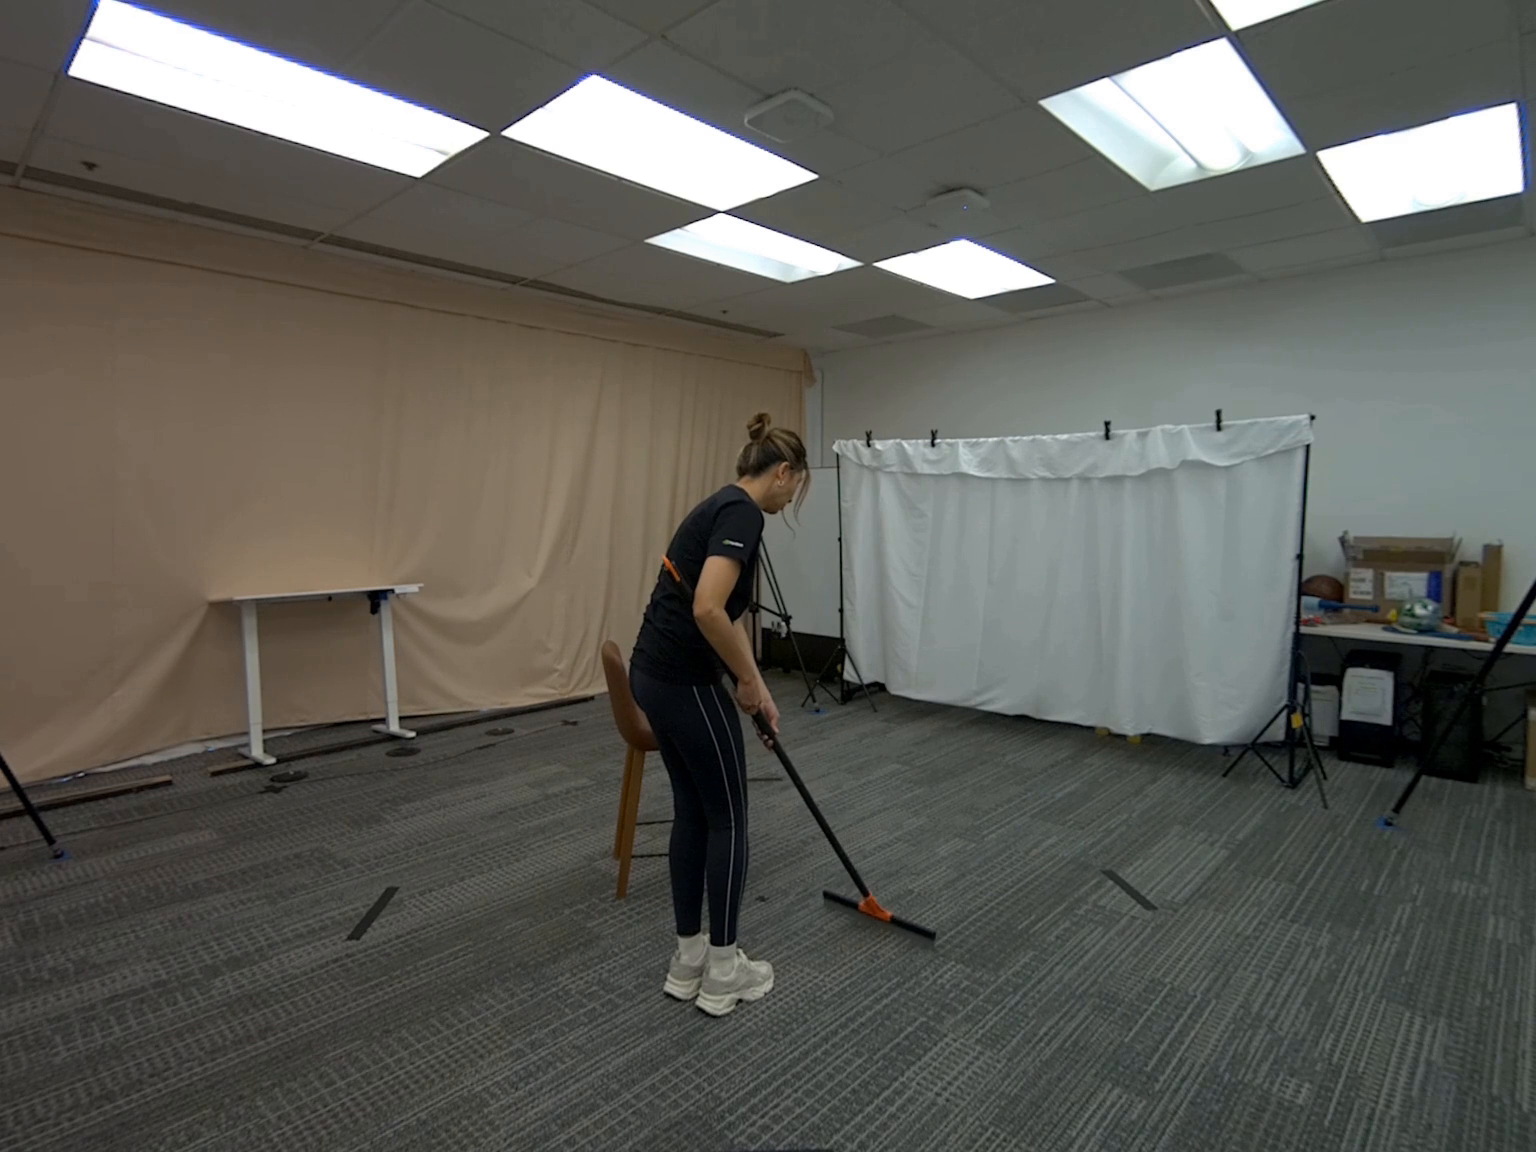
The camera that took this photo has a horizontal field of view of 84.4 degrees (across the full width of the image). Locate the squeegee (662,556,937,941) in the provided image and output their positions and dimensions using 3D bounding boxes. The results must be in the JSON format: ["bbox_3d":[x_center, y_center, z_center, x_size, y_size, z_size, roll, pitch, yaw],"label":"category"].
[{"bbox_3d":[0.082,0.550,2.430,0.452,1.495,0.053,3,42,40],"label":"squeegee"}]
